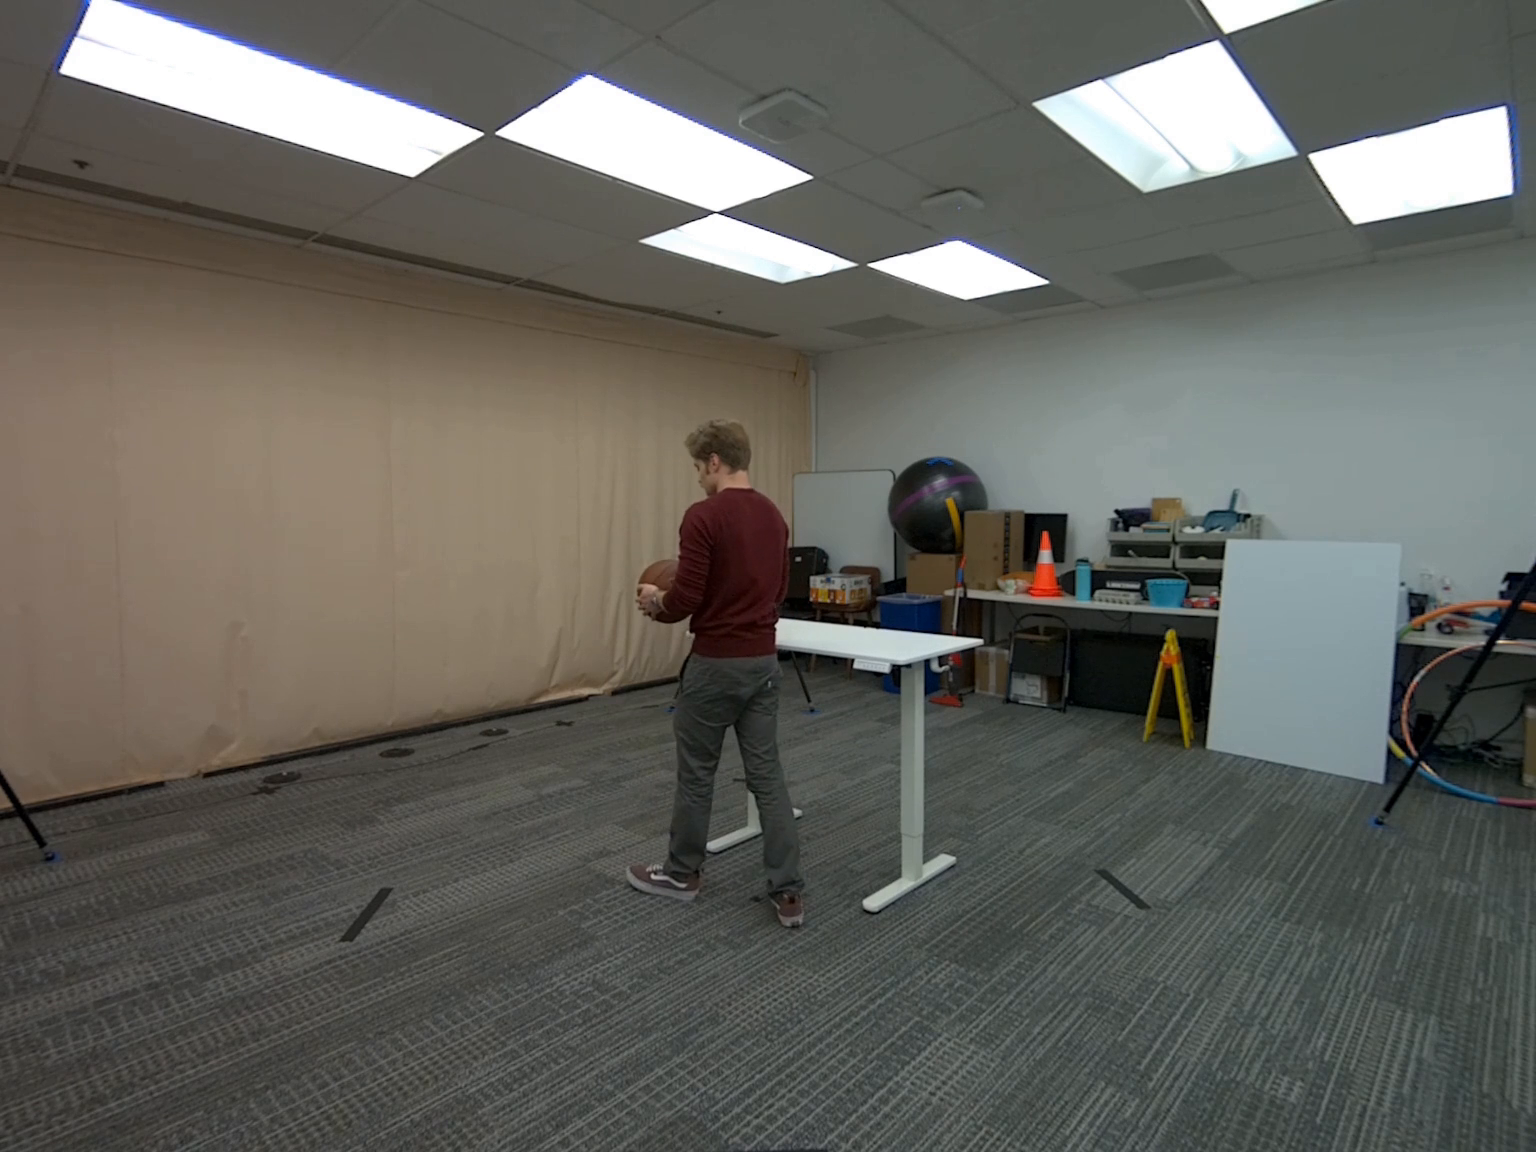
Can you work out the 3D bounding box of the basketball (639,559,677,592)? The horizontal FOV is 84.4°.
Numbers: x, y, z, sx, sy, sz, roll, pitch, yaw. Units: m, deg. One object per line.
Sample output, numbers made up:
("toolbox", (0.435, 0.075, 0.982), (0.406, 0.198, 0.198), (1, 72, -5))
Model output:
("basketball", (-0.356, 0.057, 3.136), (0.236, 0.235, 0.237), (0, 4, -2))
